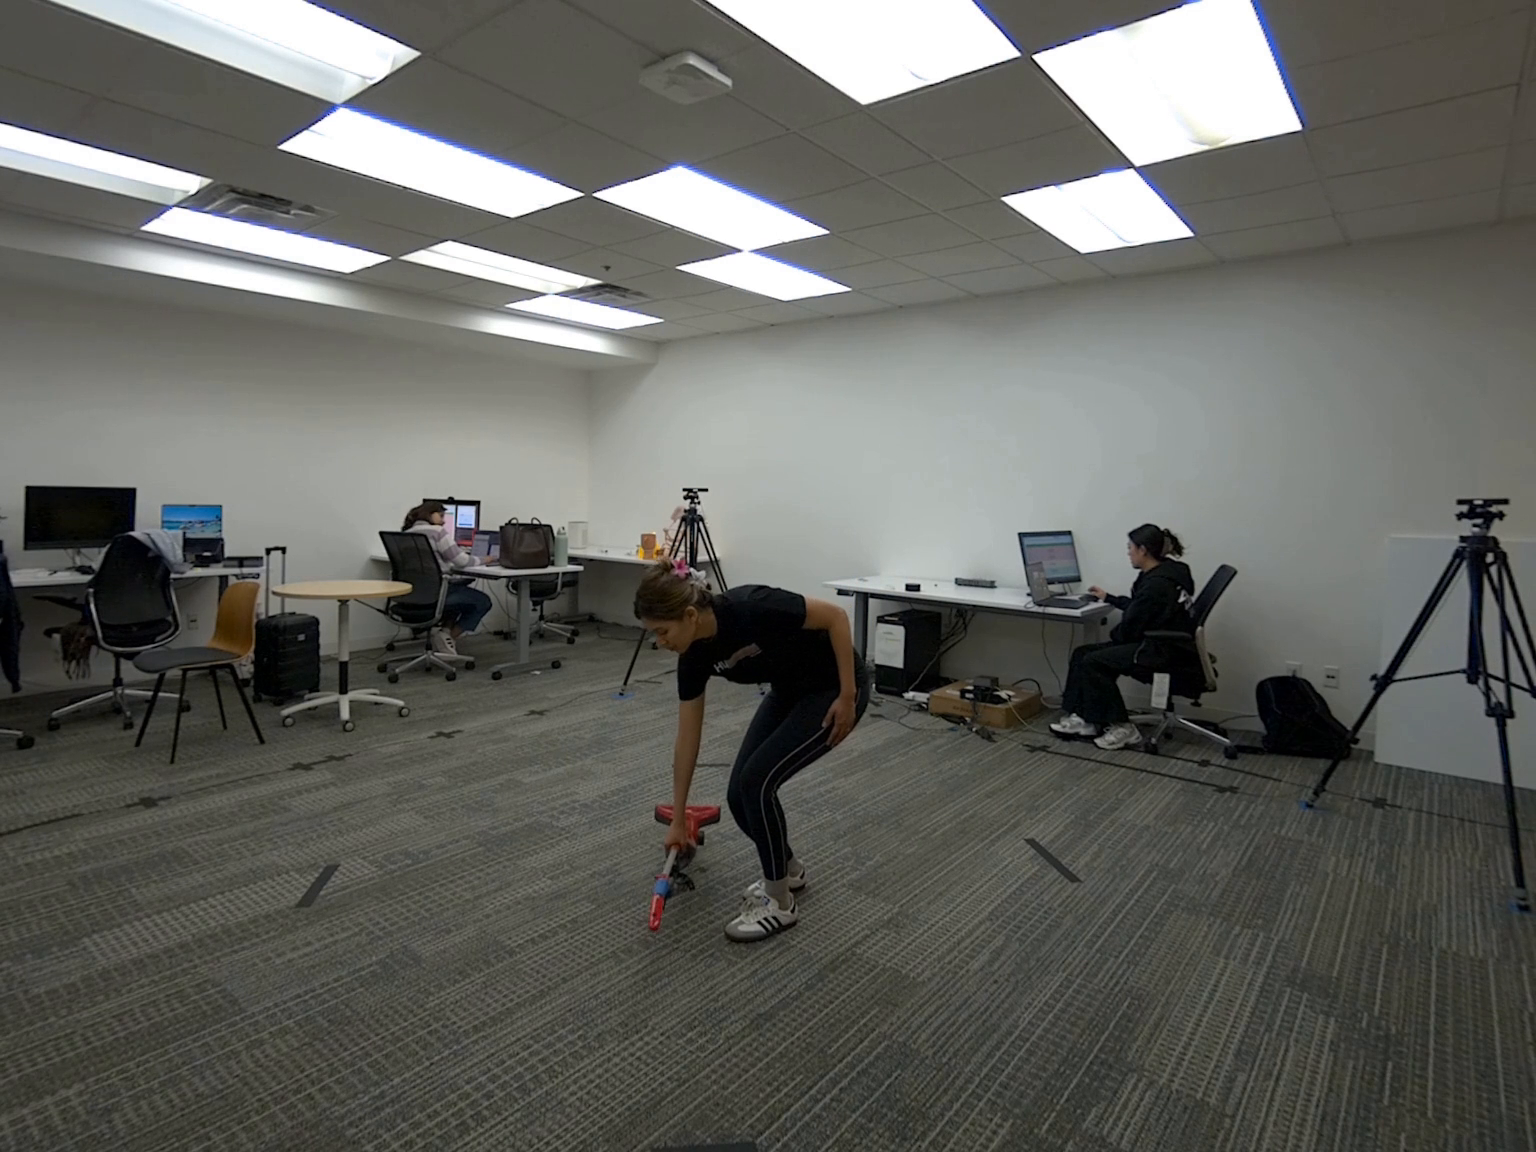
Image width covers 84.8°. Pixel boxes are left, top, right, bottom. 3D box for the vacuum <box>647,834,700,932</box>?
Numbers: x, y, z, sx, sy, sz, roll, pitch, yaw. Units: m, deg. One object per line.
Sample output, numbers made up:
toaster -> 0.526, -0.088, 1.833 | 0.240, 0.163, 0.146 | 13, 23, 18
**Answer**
vacuum -> -0.311, 0.924, 2.713 | 0.253, 0.144, 1.045 | 0, -2, -1
